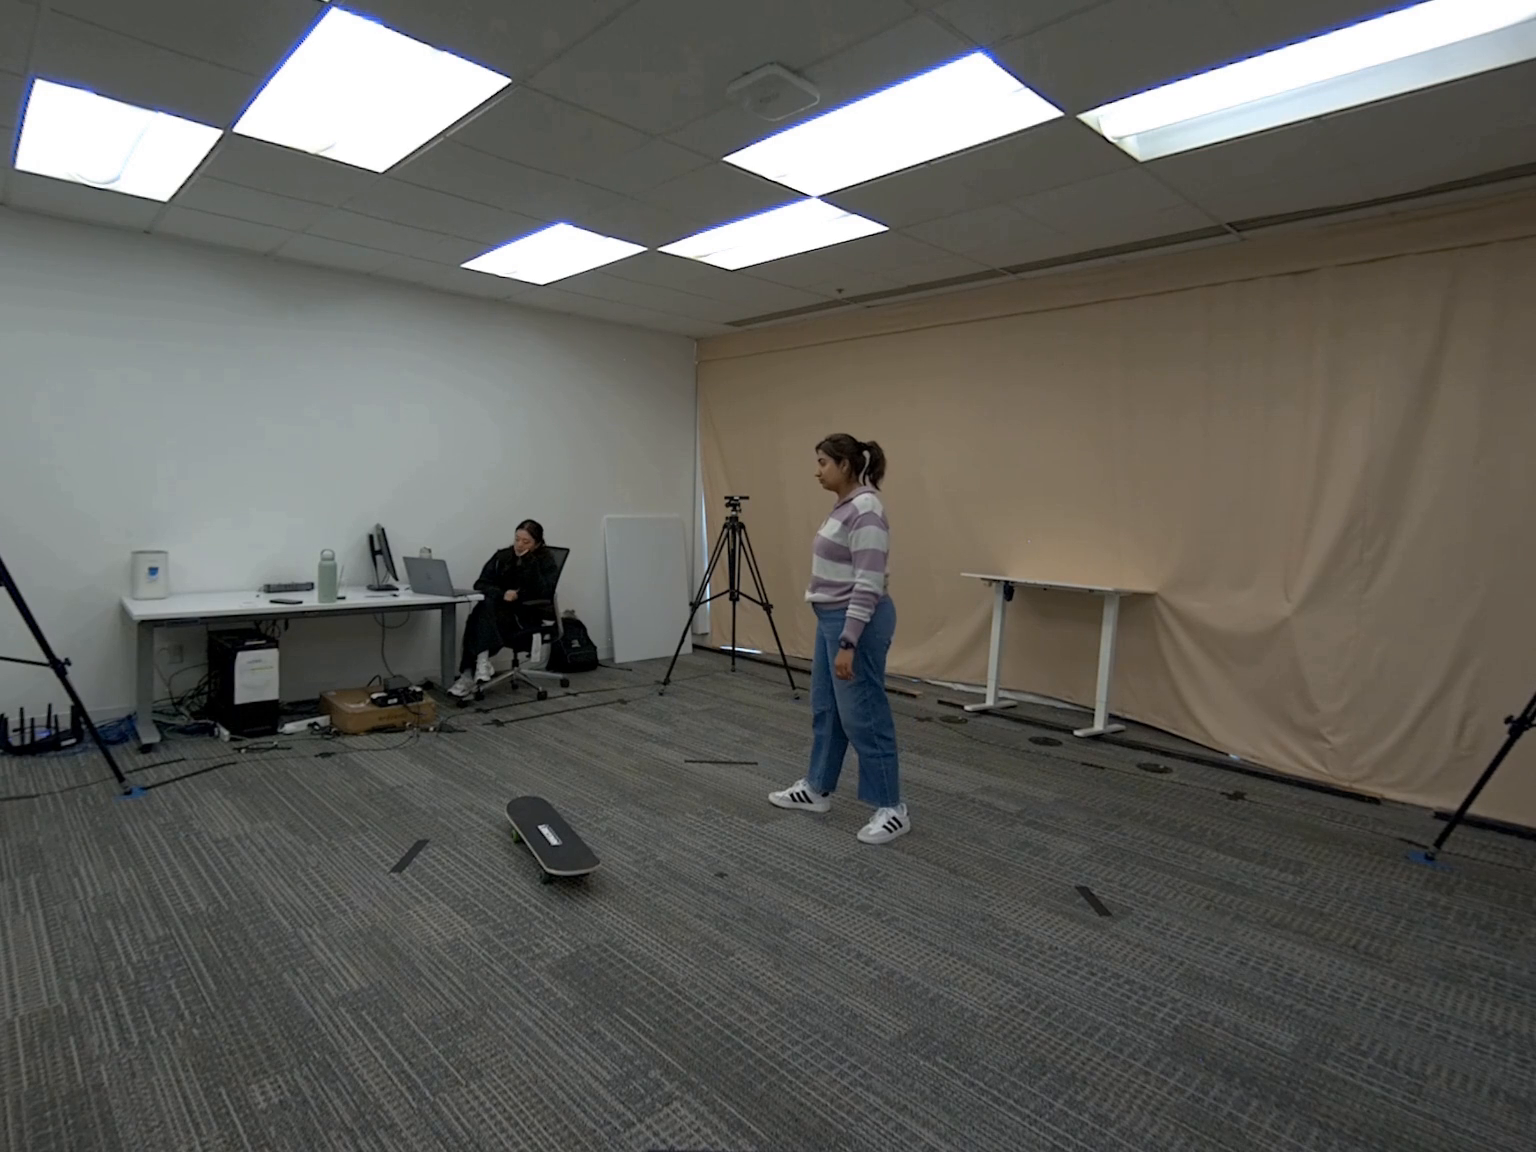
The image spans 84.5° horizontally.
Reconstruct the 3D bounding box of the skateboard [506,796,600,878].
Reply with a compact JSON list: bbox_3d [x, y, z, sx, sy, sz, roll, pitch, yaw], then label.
[{"bbox_3d":[-0.843,1.022,3.220,0.190,0.110,0.803,-1,6,-29],"label":"skateboard"}]
